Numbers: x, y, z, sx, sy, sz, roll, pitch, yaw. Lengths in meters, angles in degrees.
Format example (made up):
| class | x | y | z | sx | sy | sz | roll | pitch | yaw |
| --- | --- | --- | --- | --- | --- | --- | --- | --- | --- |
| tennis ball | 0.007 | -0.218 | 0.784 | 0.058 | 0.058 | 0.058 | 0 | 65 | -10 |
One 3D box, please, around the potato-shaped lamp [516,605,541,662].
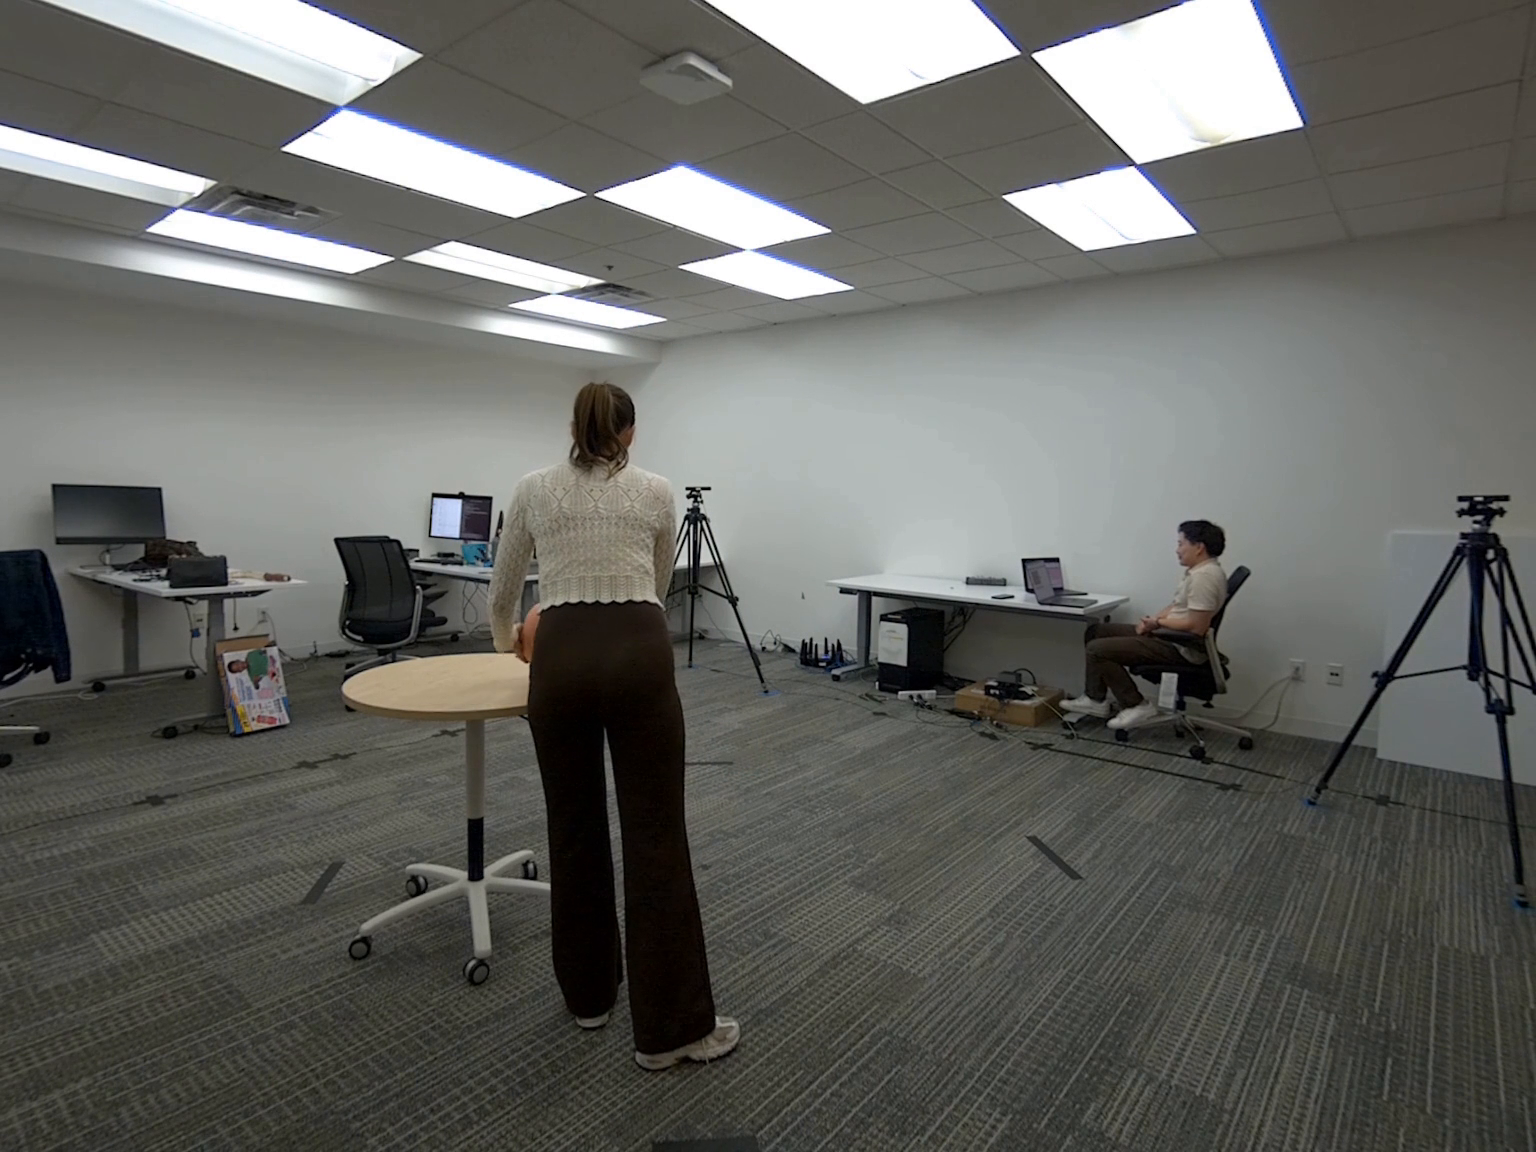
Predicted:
| class | x | y | z | sx | sy | sz | roll | pitch | yaw |
| --- | --- | --- | --- | --- | --- | --- | --- | --- | --- |
| potato-shaped lamp | -0.664 | 0.172 | 2.605 | 0.170 | 0.198 | 0.166 | 8 | 2 | 37 |
